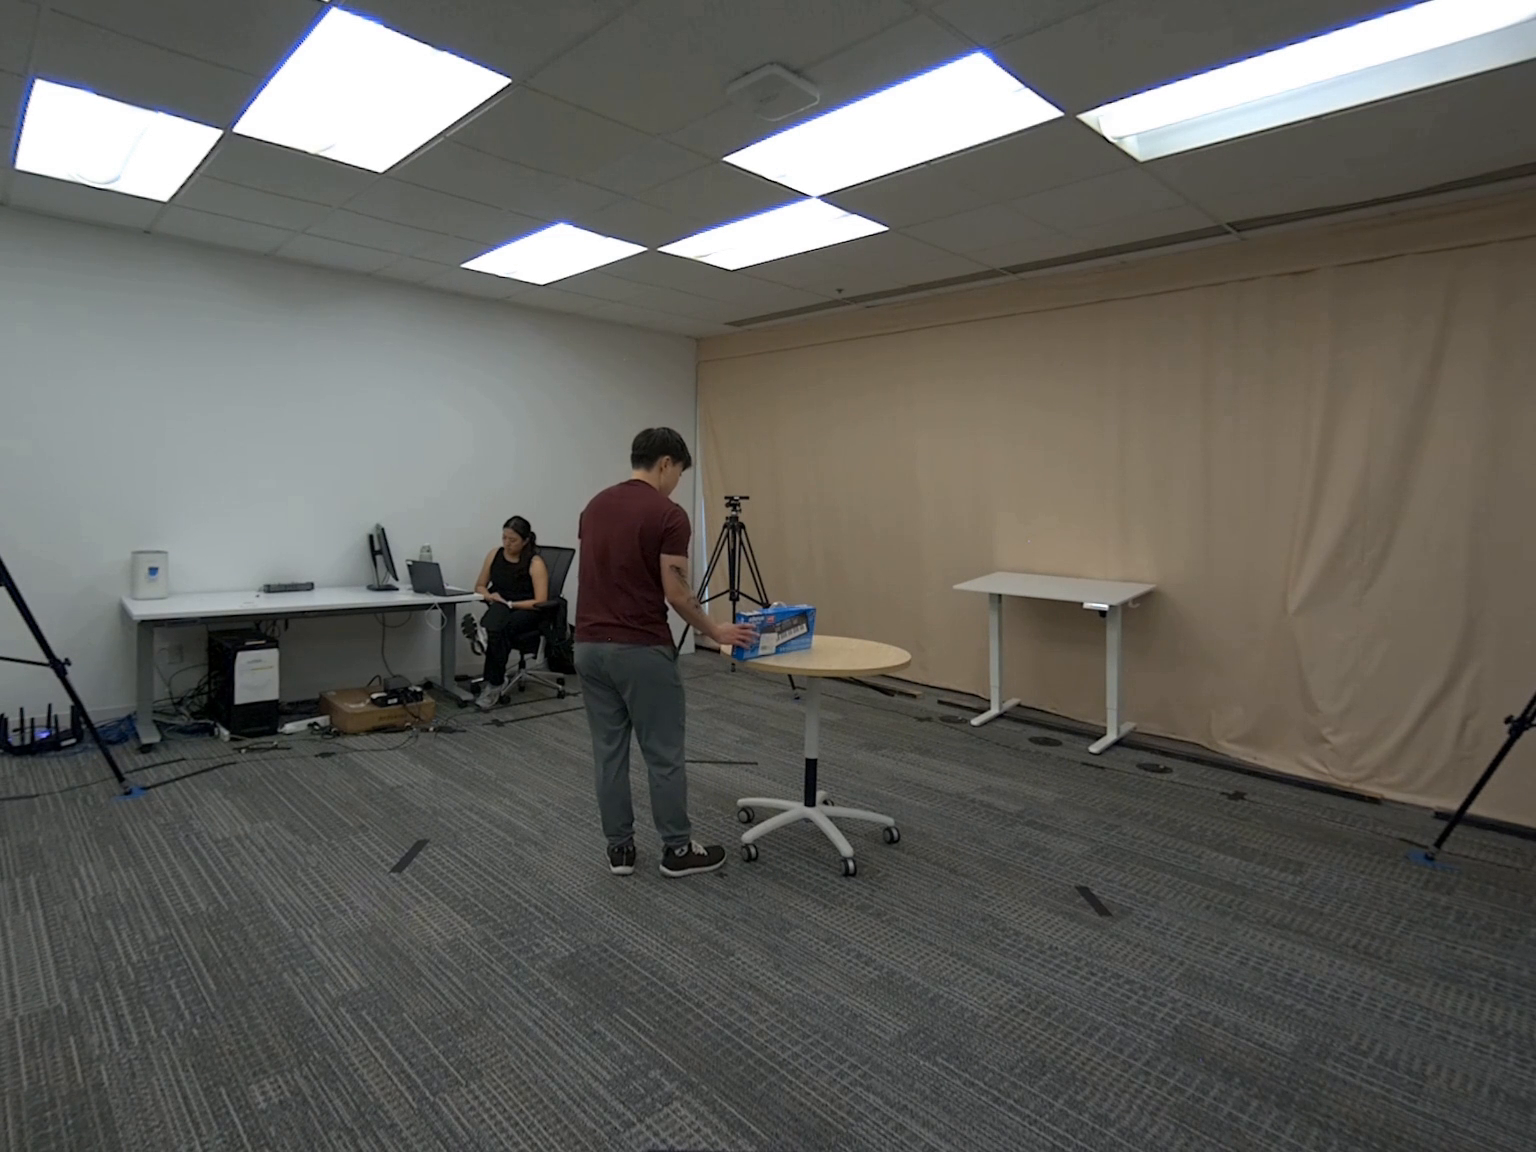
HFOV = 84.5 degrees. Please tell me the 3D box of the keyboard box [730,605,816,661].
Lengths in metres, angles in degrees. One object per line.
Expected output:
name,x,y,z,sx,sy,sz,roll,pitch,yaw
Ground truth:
keyboard box,0.026,0.221,3.317,0.061,0.175,0.427,11,9,38
